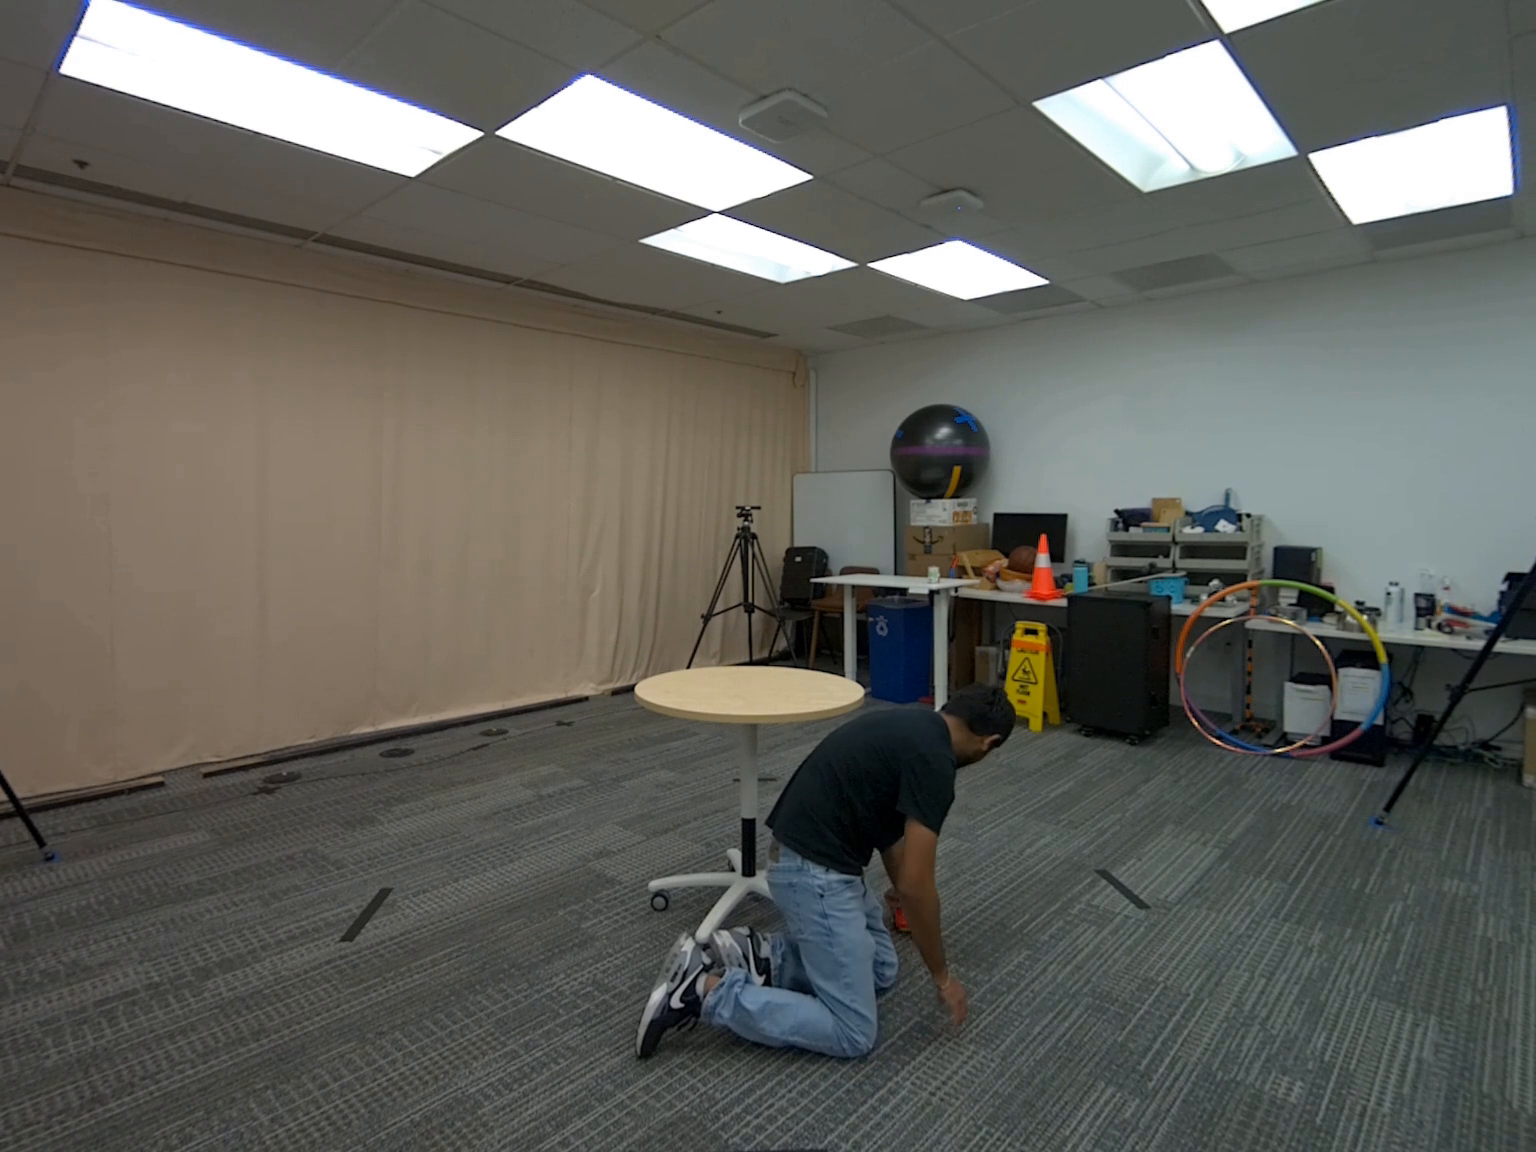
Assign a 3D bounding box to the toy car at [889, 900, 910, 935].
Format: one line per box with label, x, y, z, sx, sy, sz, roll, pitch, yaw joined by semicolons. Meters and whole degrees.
toy car;0.474;1.121;2.815;0.131;0.083;0.251;-1;-6;8
